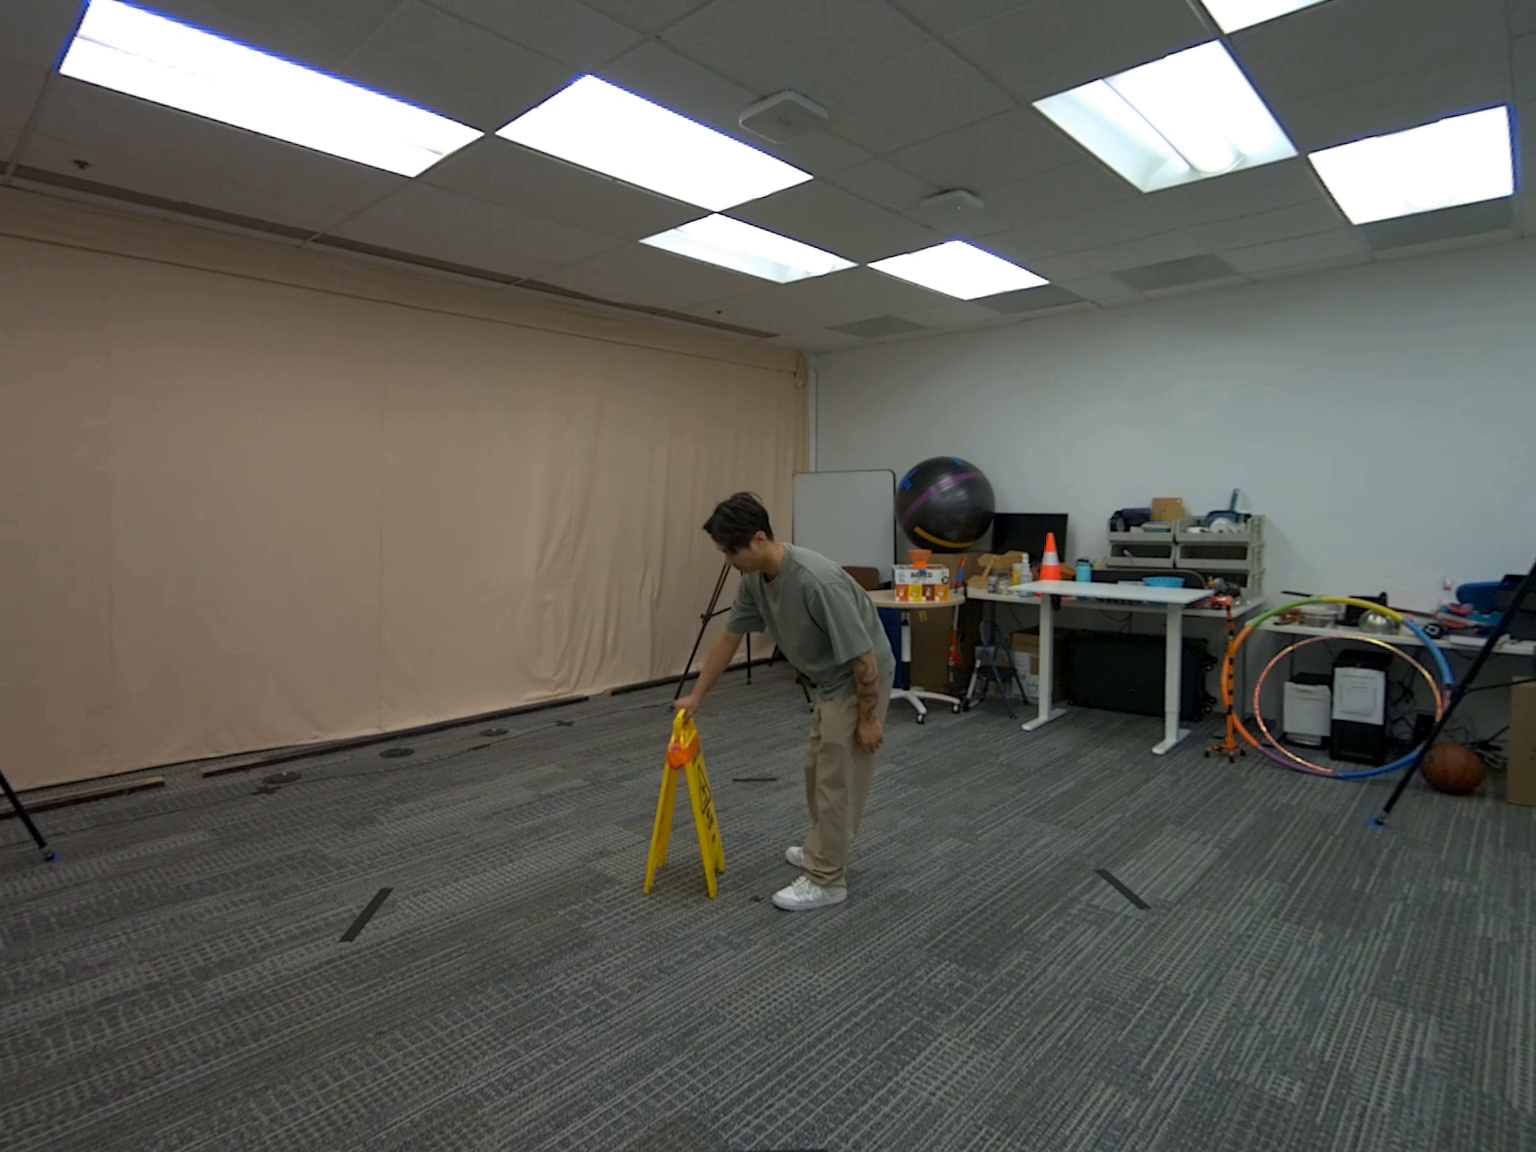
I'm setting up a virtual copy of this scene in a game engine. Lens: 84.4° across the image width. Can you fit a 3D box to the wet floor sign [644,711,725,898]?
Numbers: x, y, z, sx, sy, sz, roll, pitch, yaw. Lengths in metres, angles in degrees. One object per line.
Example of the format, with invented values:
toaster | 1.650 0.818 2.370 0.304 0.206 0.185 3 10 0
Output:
wet floor sign | -0.312 0.815 3.095 0.292 0.644 0.281 -2 5 7
